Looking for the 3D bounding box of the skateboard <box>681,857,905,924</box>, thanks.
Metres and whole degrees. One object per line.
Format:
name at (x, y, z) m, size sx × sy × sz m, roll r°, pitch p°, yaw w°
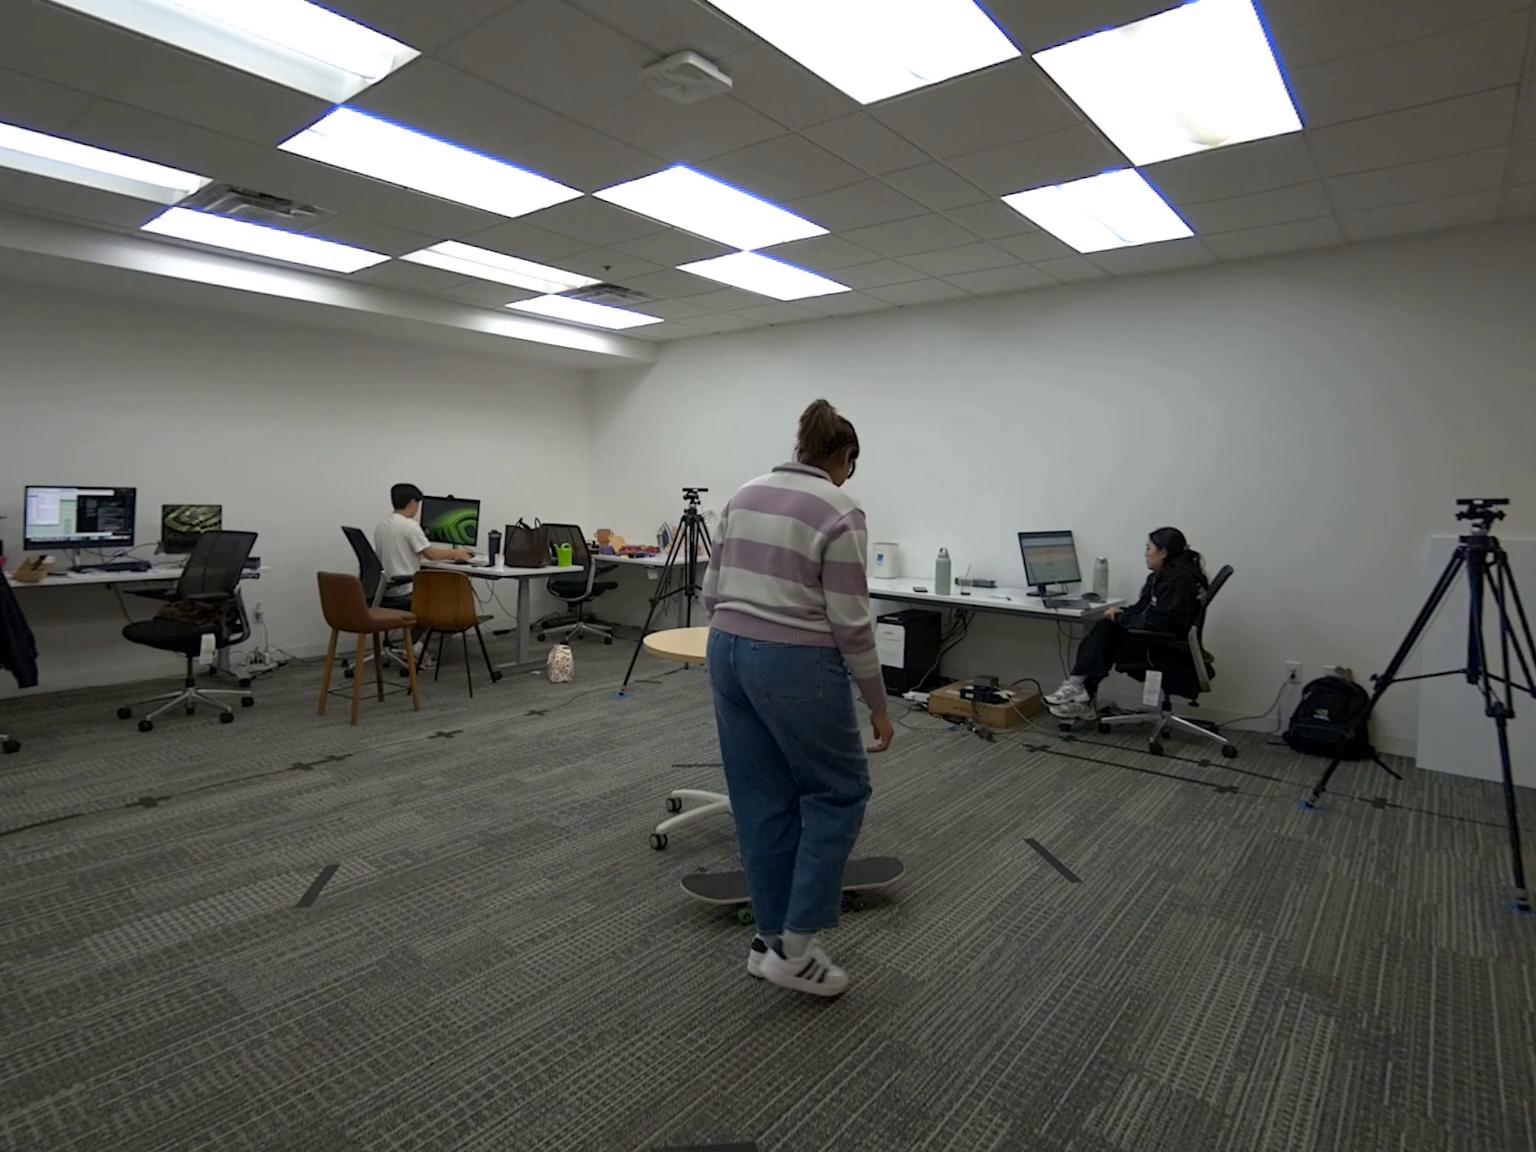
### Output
skateboard at (0.085, 1.039, 2.858) m, size 0.773 × 0.110 × 0.197 m, roll 0°, pitch 5°, yaw -15°
